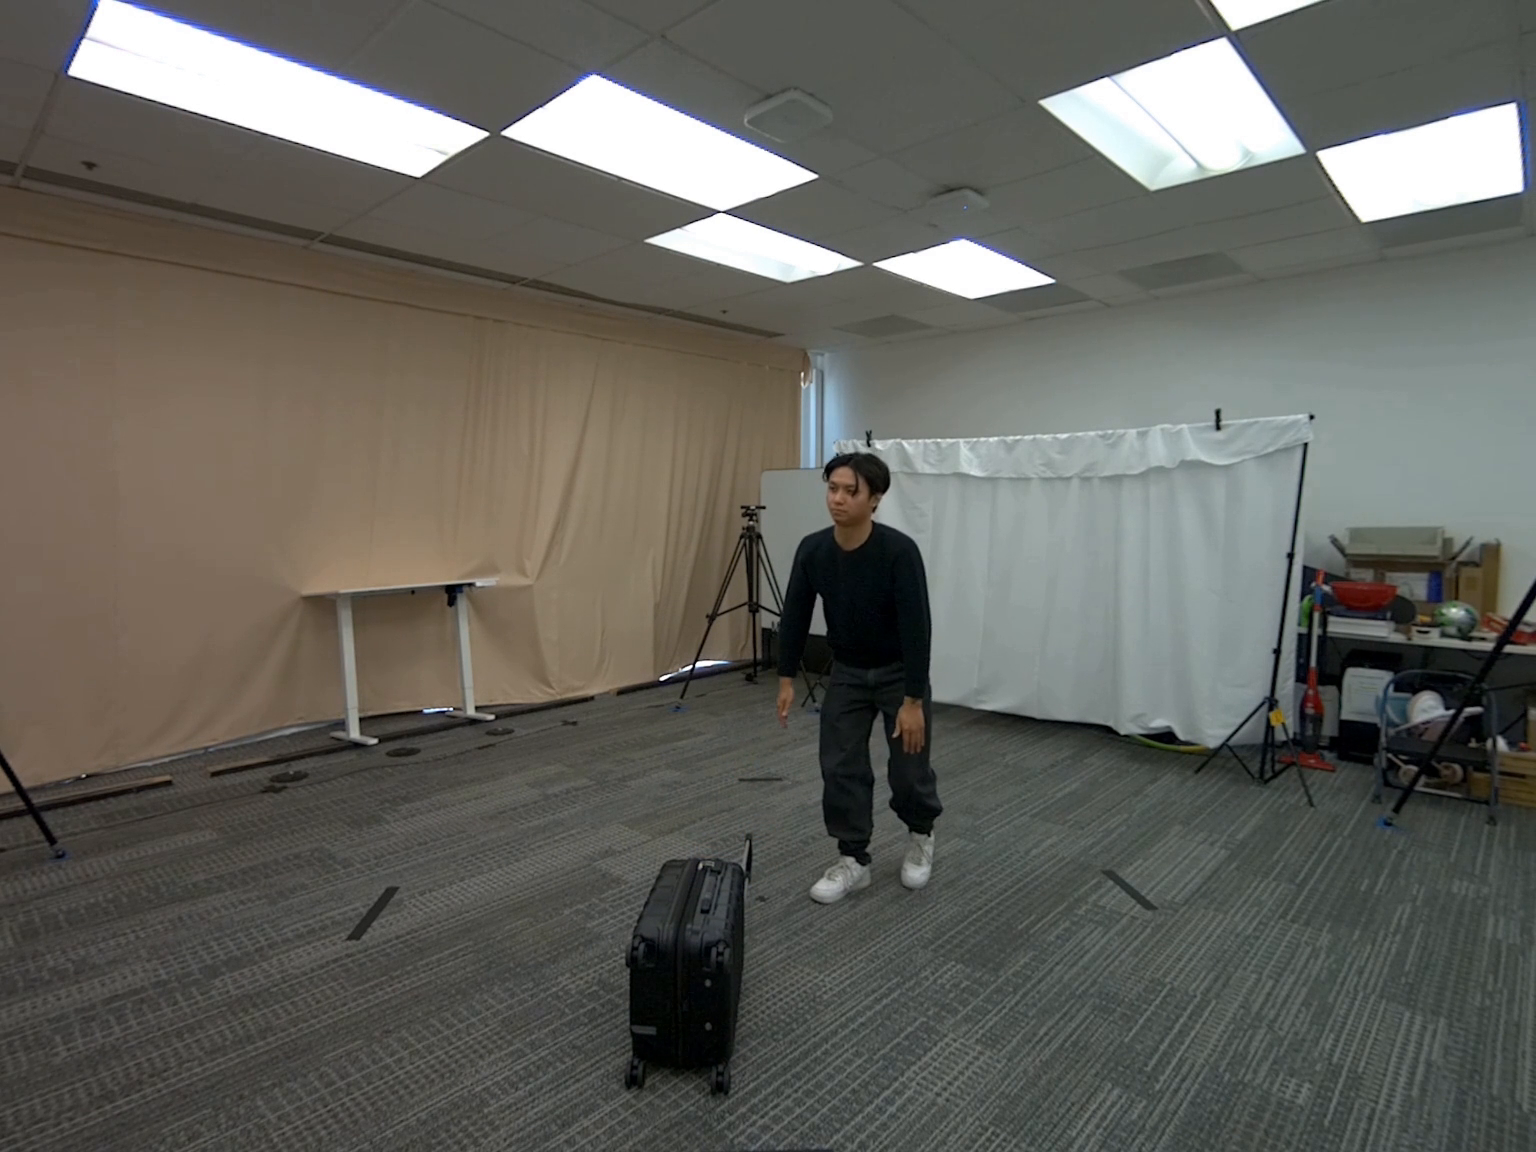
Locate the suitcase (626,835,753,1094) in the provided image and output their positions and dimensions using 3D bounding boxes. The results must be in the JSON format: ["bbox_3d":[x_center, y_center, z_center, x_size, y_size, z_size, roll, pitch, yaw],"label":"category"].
[{"bbox_3d":[-0.196,0.998,2.460,0.258,0.383,0.977,0,4,2],"label":"suitcase"}]
